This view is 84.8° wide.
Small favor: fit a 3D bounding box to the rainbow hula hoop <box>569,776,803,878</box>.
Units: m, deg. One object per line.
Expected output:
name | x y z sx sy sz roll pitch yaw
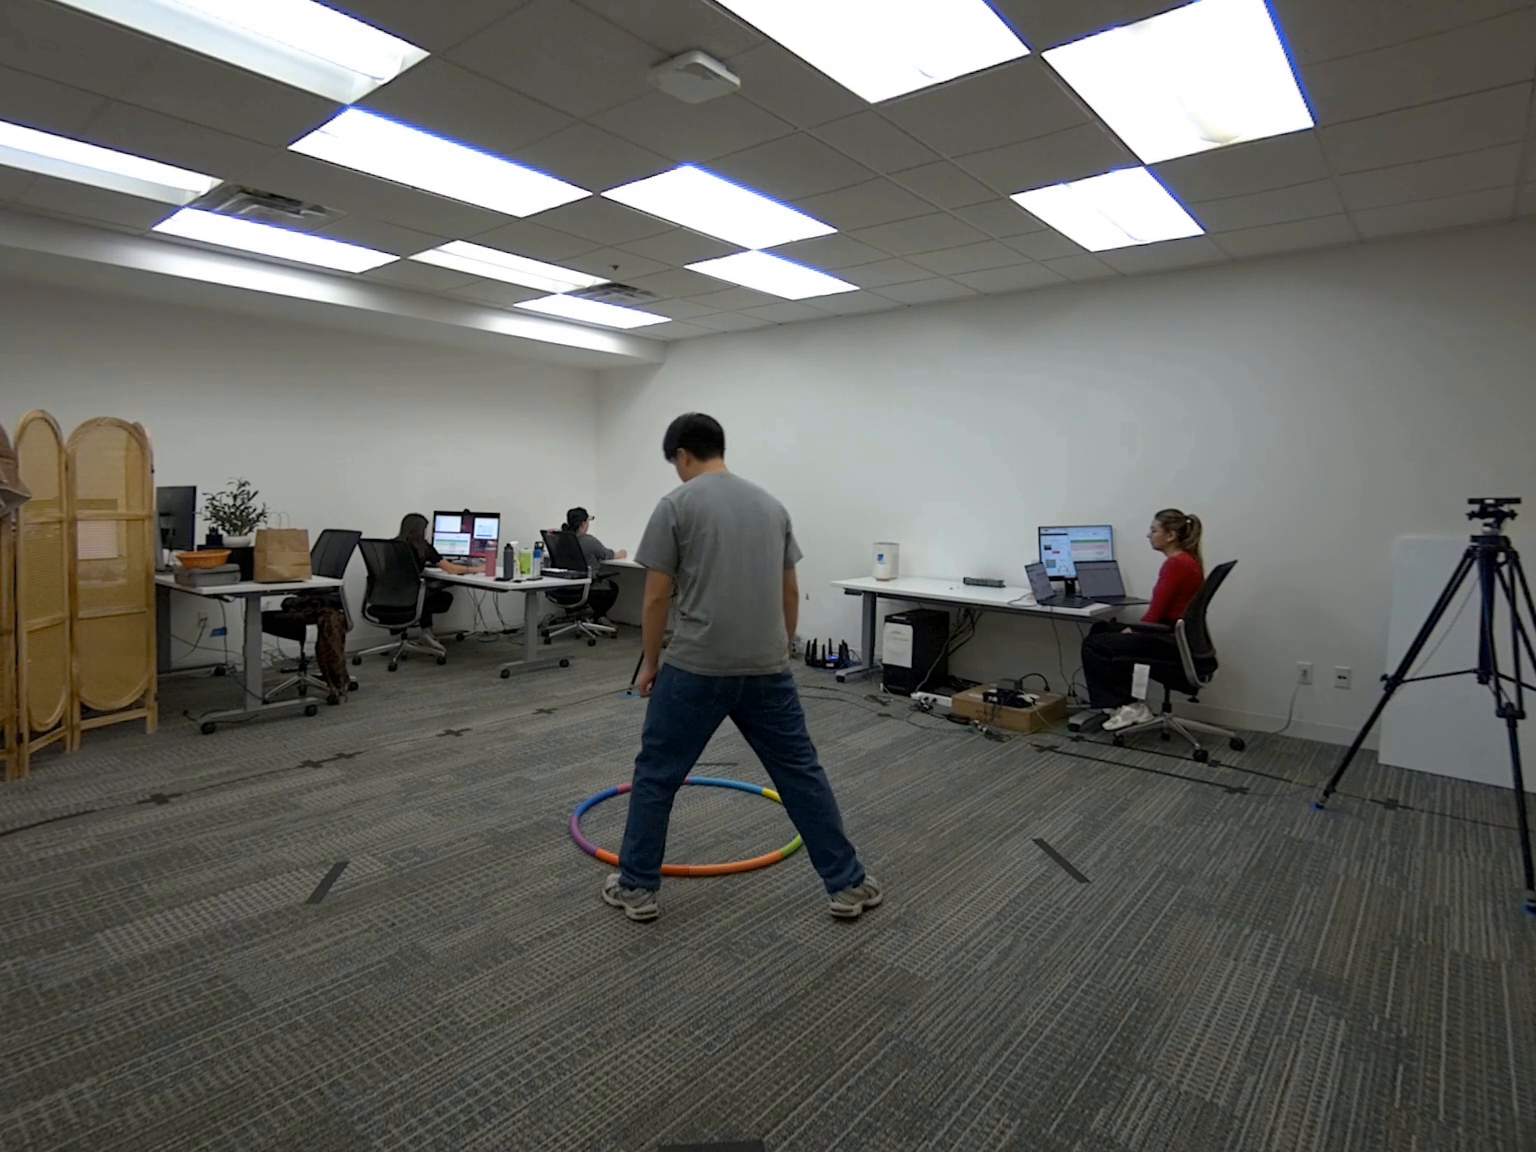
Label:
rainbow hula hoop | -0.335 0.993 3.513 0.978 0.035 0.984 1 6 -2
